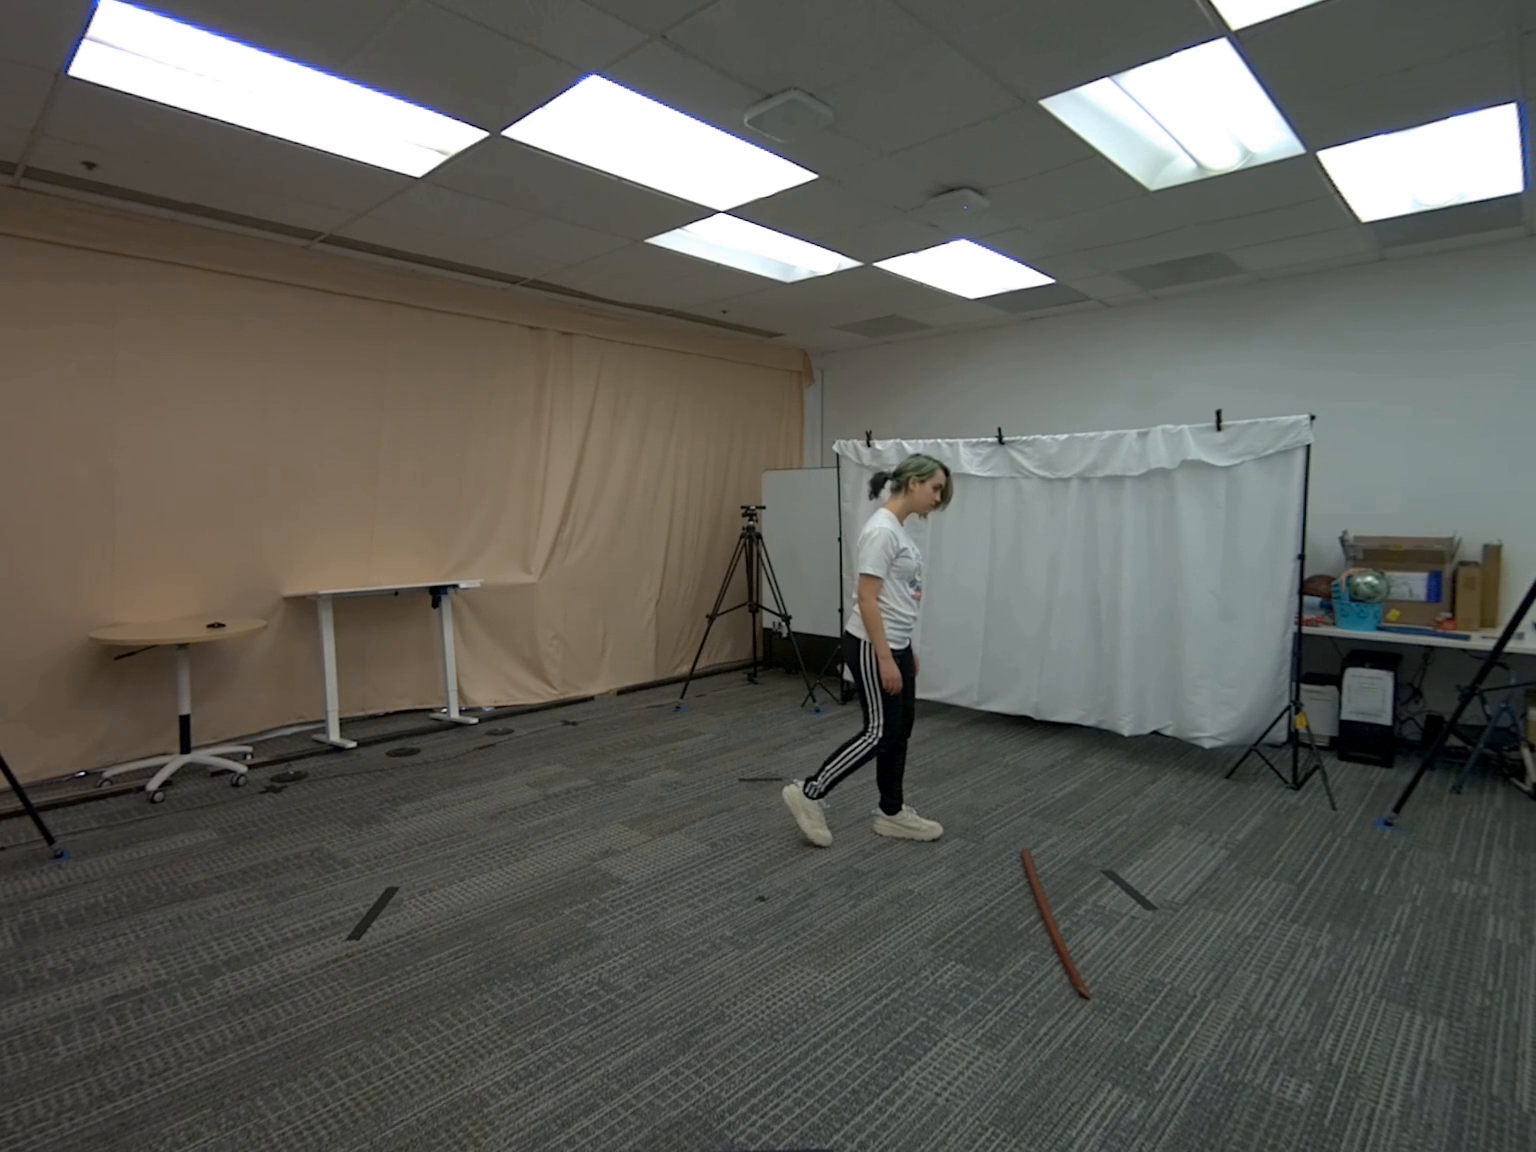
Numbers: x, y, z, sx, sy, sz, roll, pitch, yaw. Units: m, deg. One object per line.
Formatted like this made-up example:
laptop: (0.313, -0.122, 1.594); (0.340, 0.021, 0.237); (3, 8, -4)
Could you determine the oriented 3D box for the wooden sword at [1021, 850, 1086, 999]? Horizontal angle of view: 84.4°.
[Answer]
wooden sword: (0.929, 1.120, 2.877); (0.024, 0.051, 1.015); (-1, 4, 8)
